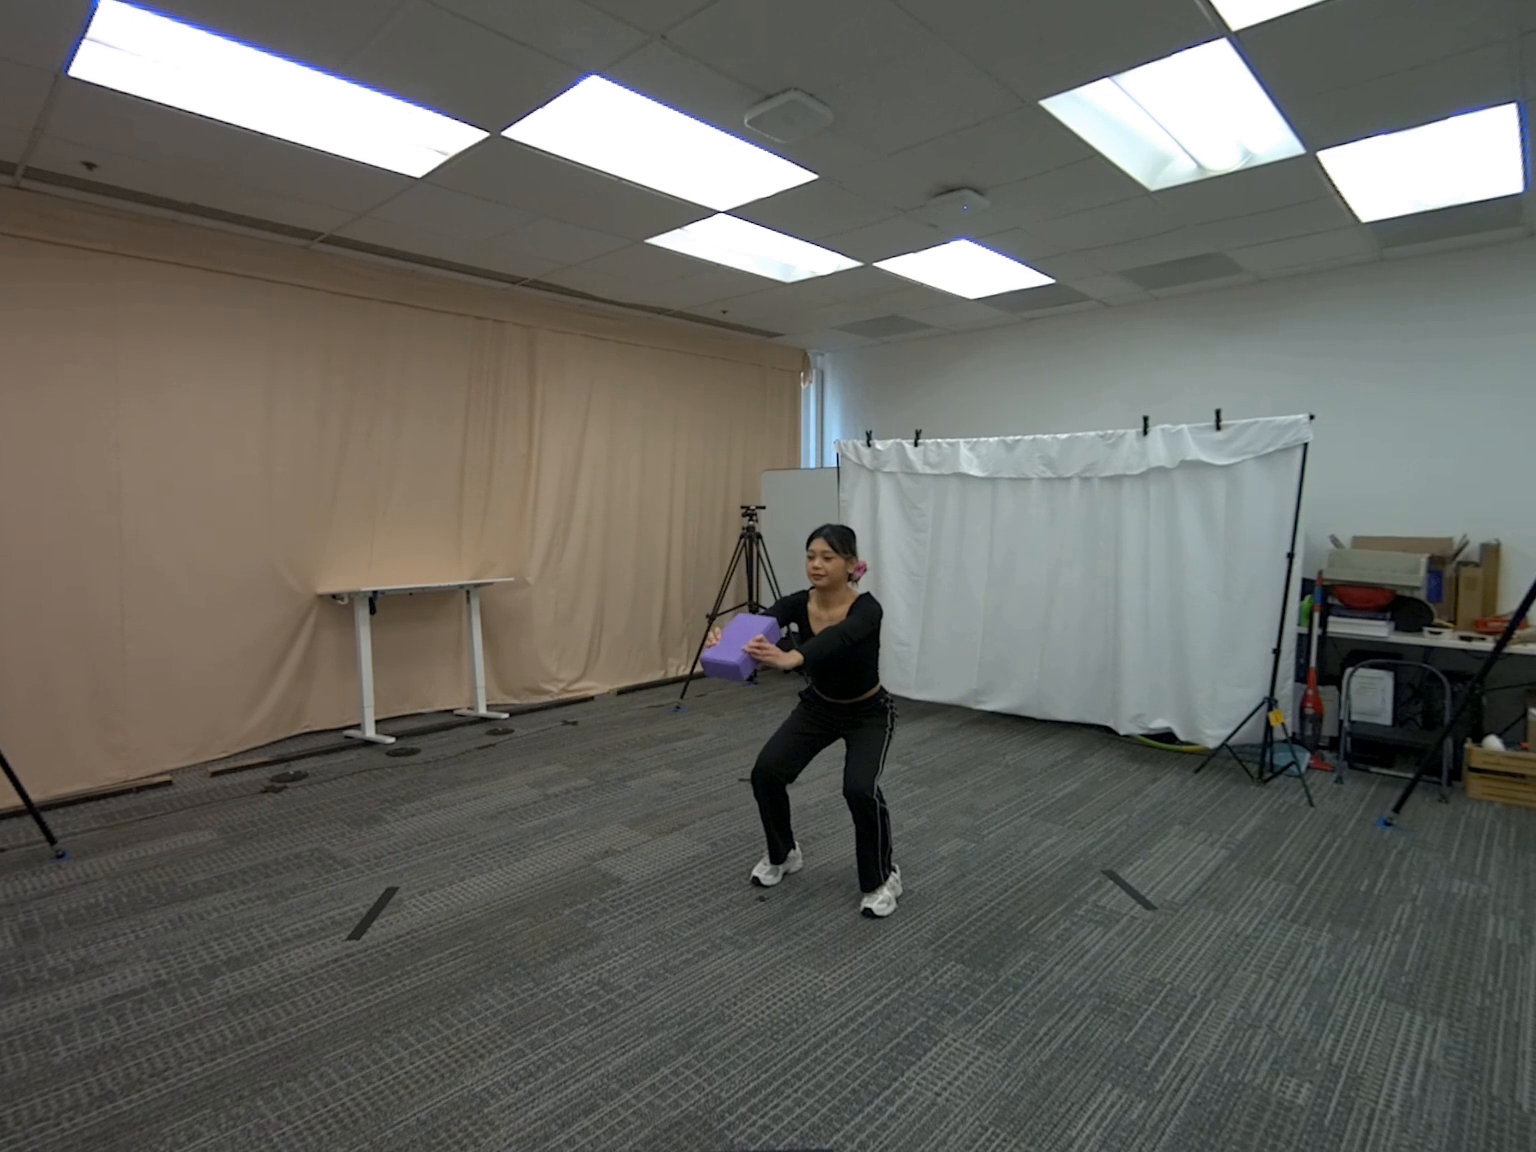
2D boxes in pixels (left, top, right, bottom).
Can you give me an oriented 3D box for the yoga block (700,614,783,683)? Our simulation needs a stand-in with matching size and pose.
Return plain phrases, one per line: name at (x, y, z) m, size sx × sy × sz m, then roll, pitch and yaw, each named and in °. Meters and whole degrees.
yoga block at (-0.071, 0.199, 2.488) m, size 0.154 × 0.074 × 0.227 m, roll 5°, pitch 38°, yaw 34°
